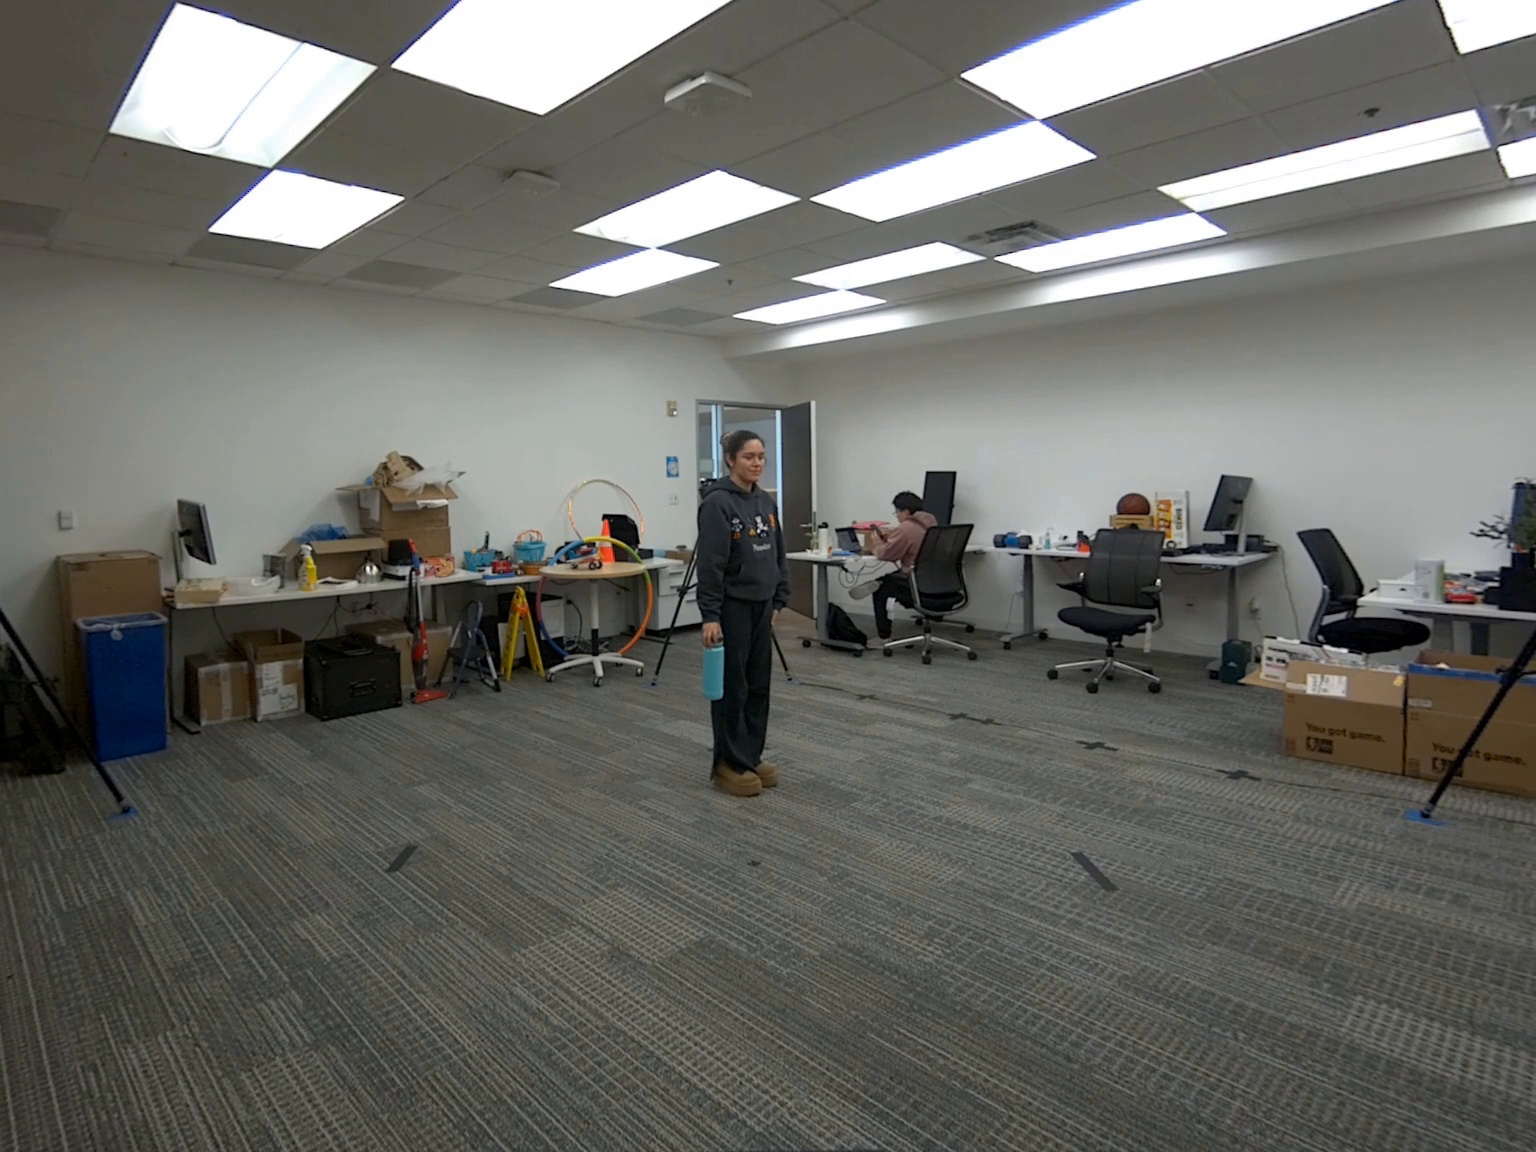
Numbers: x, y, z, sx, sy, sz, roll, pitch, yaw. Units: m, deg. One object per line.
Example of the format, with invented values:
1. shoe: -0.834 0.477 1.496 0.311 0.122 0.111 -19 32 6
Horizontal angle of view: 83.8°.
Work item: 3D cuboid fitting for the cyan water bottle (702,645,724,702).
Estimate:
1. cyan water bottle: -0.237 0.391 3.658 0.092 0.281 0.093 1 10 -2
